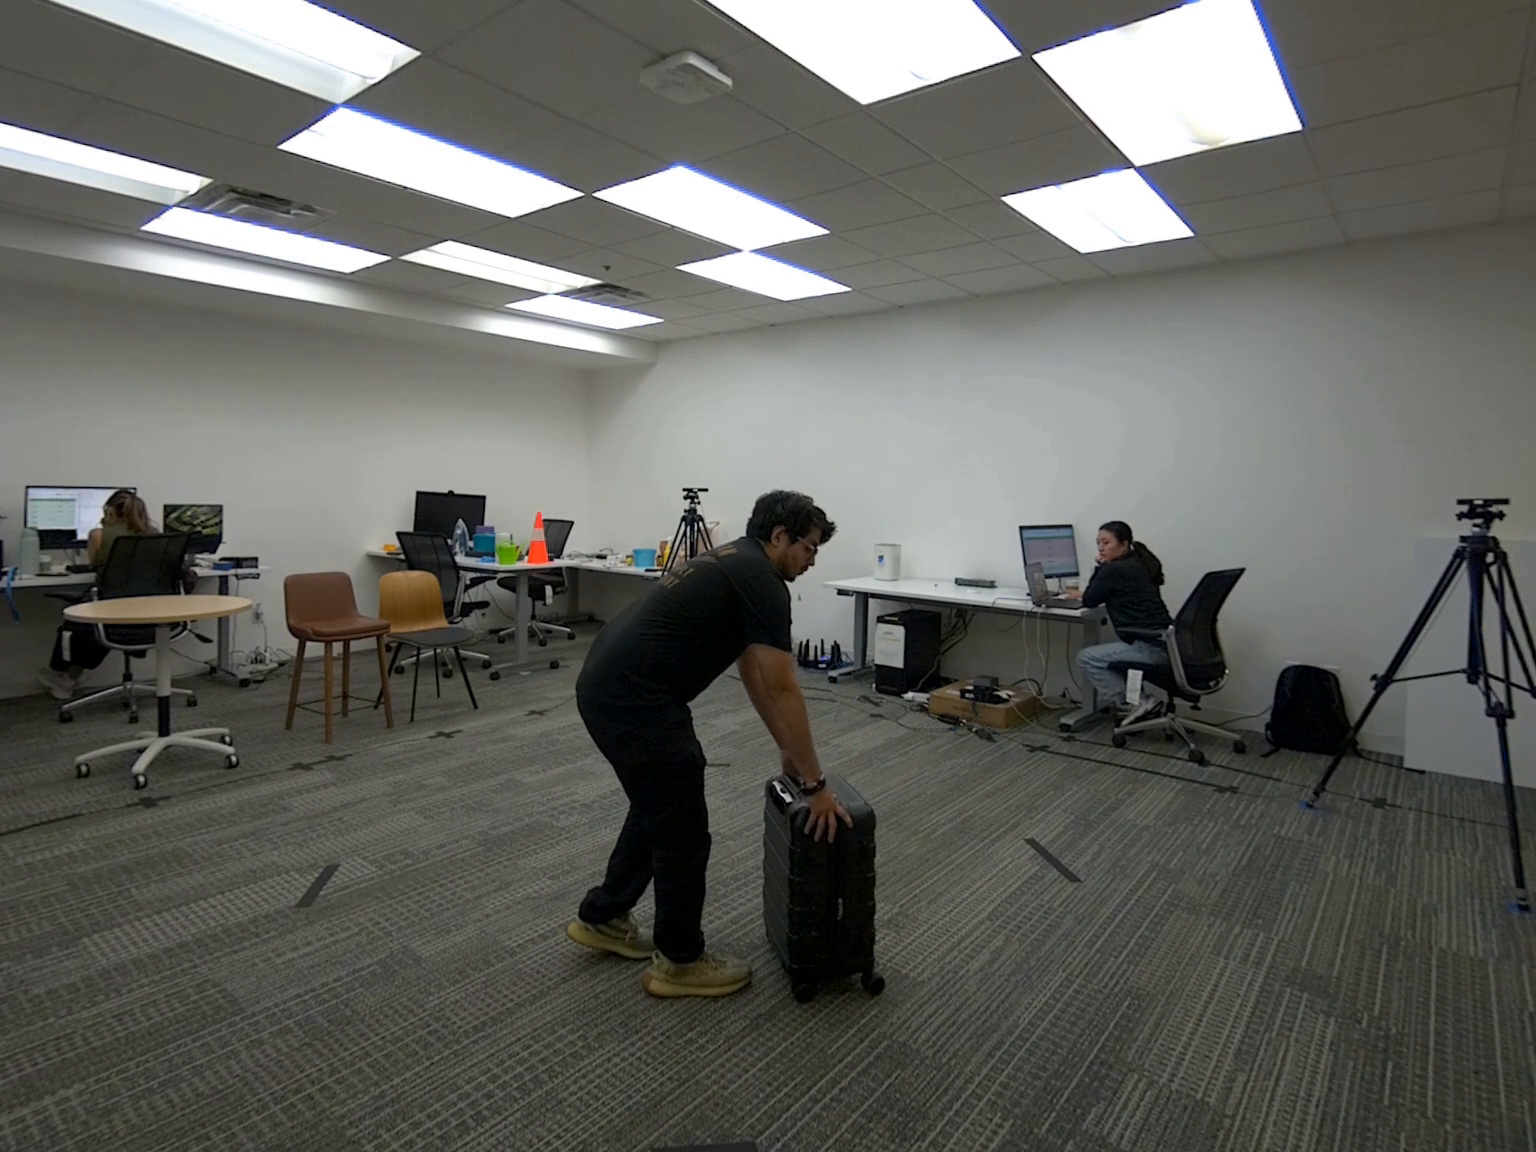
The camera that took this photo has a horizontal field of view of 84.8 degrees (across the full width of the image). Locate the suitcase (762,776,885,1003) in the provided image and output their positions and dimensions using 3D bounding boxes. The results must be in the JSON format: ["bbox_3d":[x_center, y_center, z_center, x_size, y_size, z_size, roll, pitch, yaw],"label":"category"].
[{"bbox_3d":[0.137,0.873,2.465,0.245,0.547,0.382,-1,5,-13],"label":"suitcase"}]
